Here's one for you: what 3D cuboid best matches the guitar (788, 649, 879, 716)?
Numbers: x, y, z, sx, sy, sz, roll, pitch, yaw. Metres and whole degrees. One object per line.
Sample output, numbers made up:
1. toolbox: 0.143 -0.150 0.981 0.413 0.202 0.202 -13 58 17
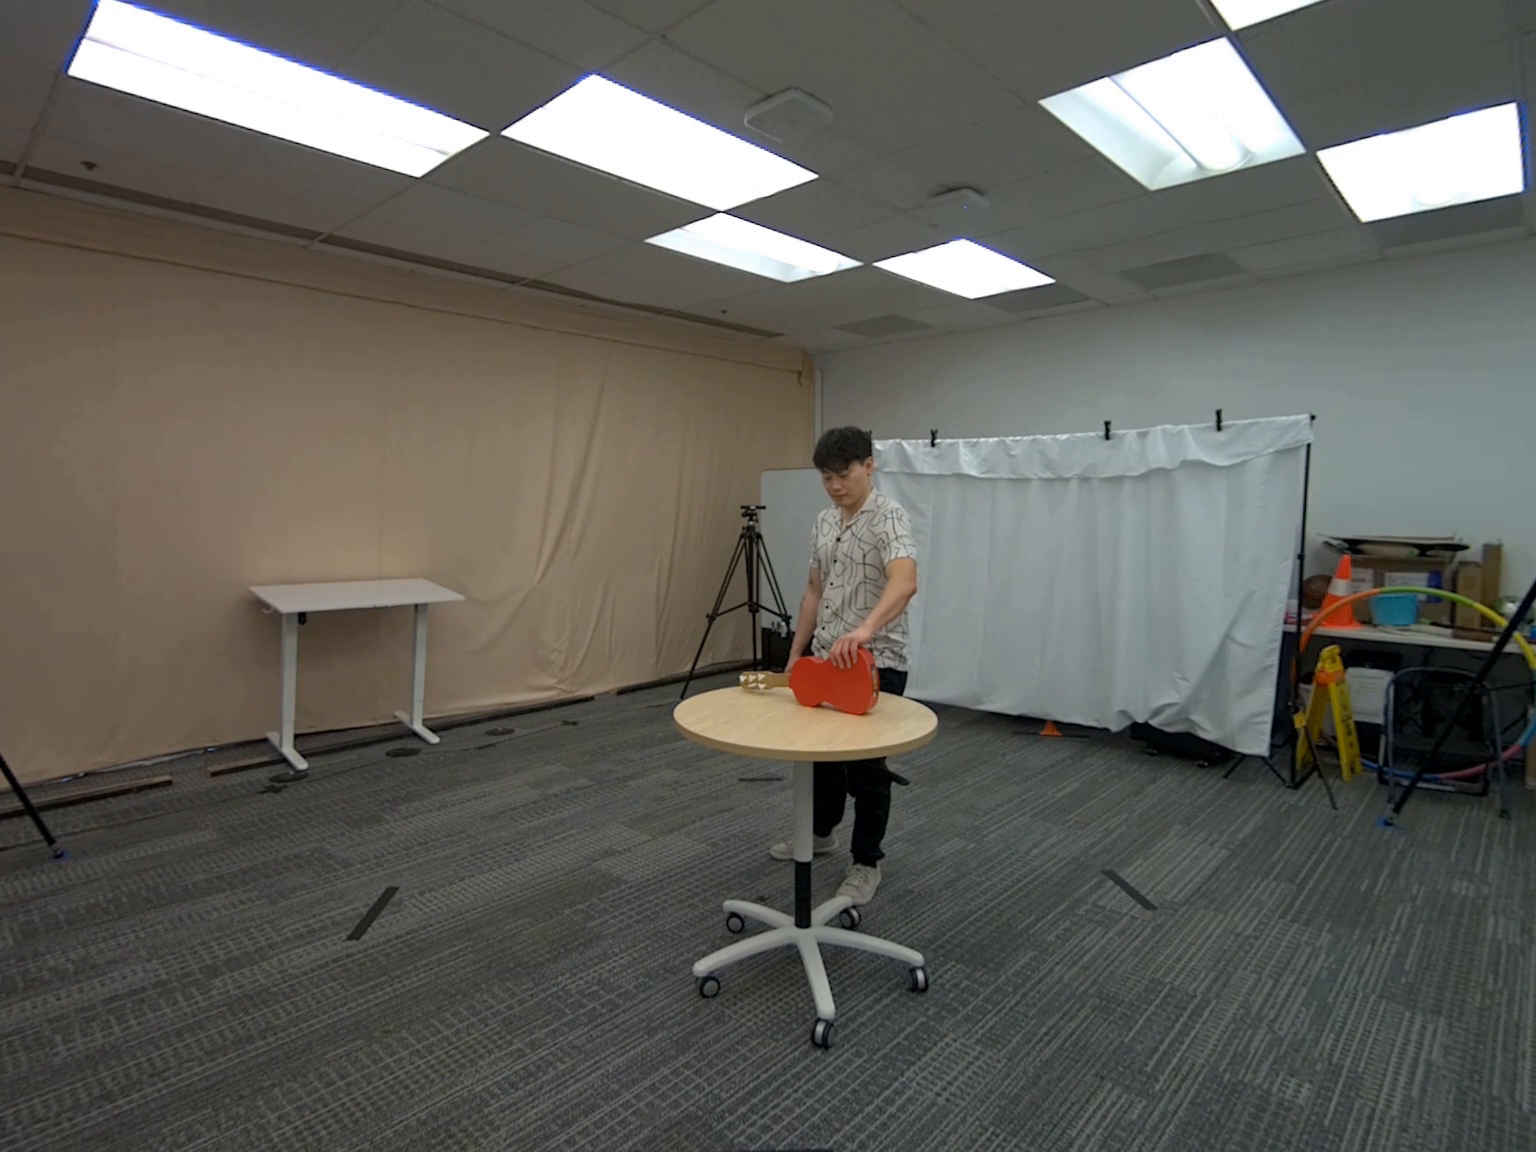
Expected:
1. guitar: 0.117 0.350 2.586 0.509 0.194 0.068 -18 -9 35
